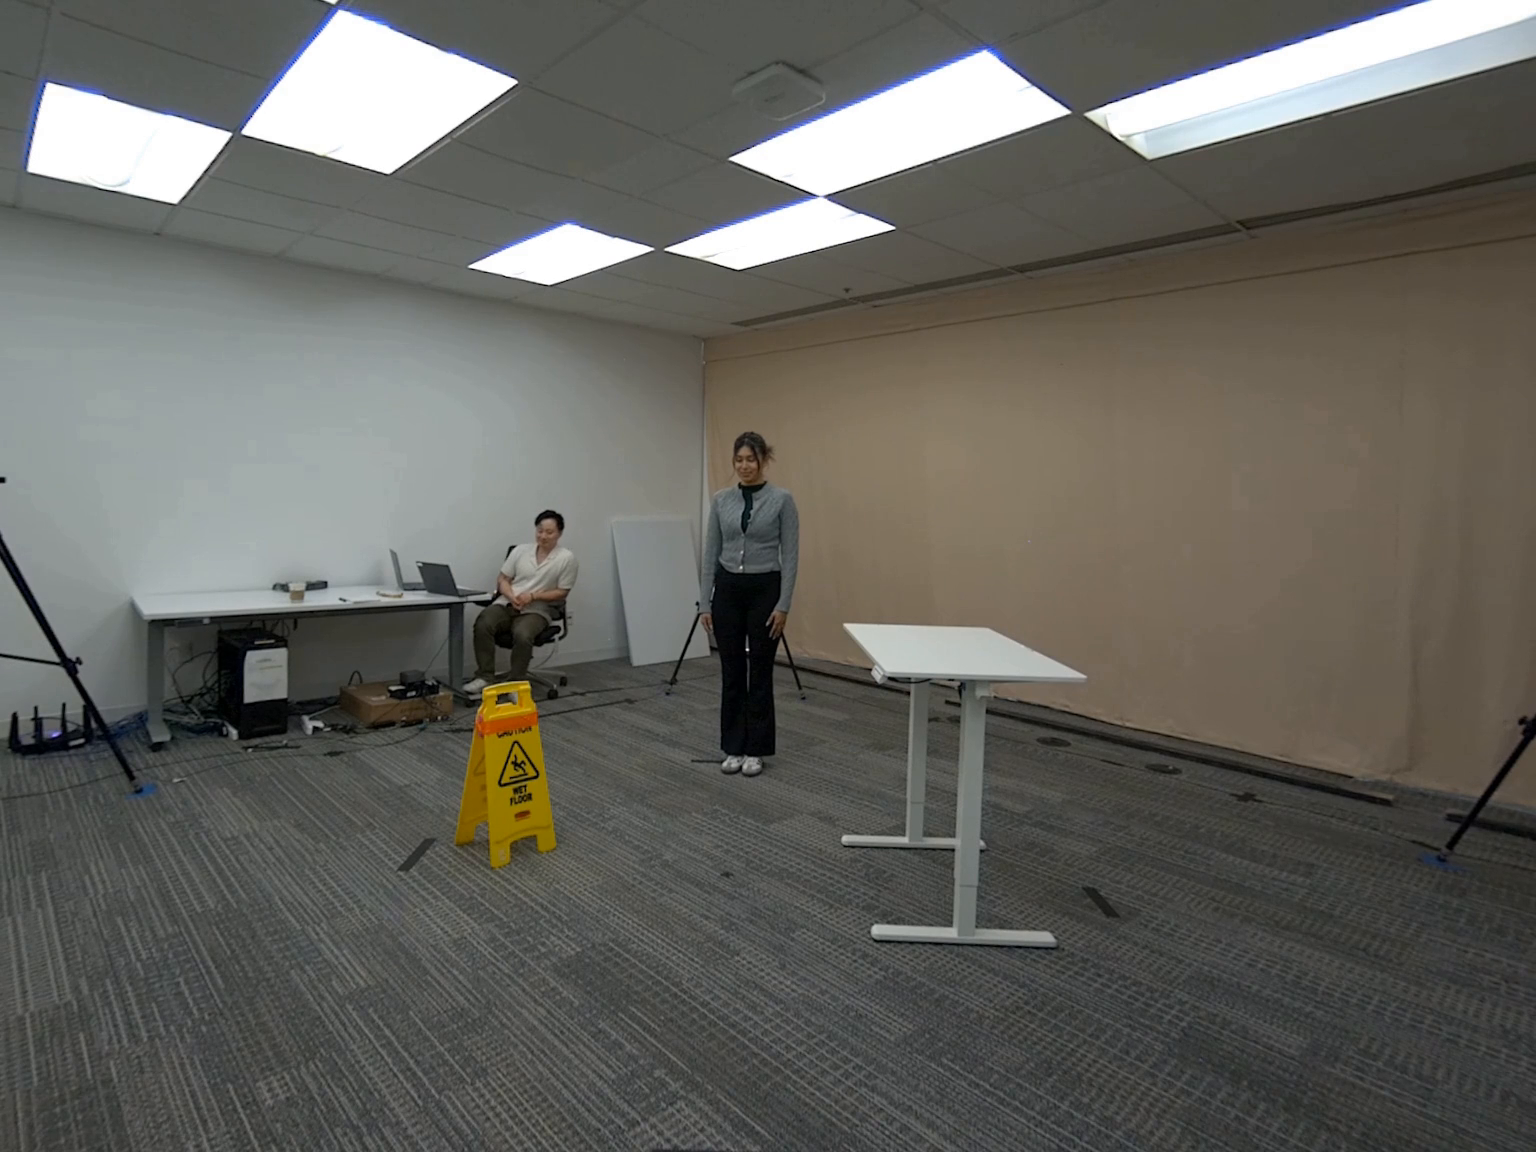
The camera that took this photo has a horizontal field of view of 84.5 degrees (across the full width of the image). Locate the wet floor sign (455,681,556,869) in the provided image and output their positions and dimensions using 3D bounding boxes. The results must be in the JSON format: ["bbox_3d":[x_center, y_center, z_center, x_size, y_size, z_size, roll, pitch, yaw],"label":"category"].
[{"bbox_3d":[-1.035,0.746,3.291,0.297,0.645,0.276,4,4,43],"label":"wet floor sign"}]
